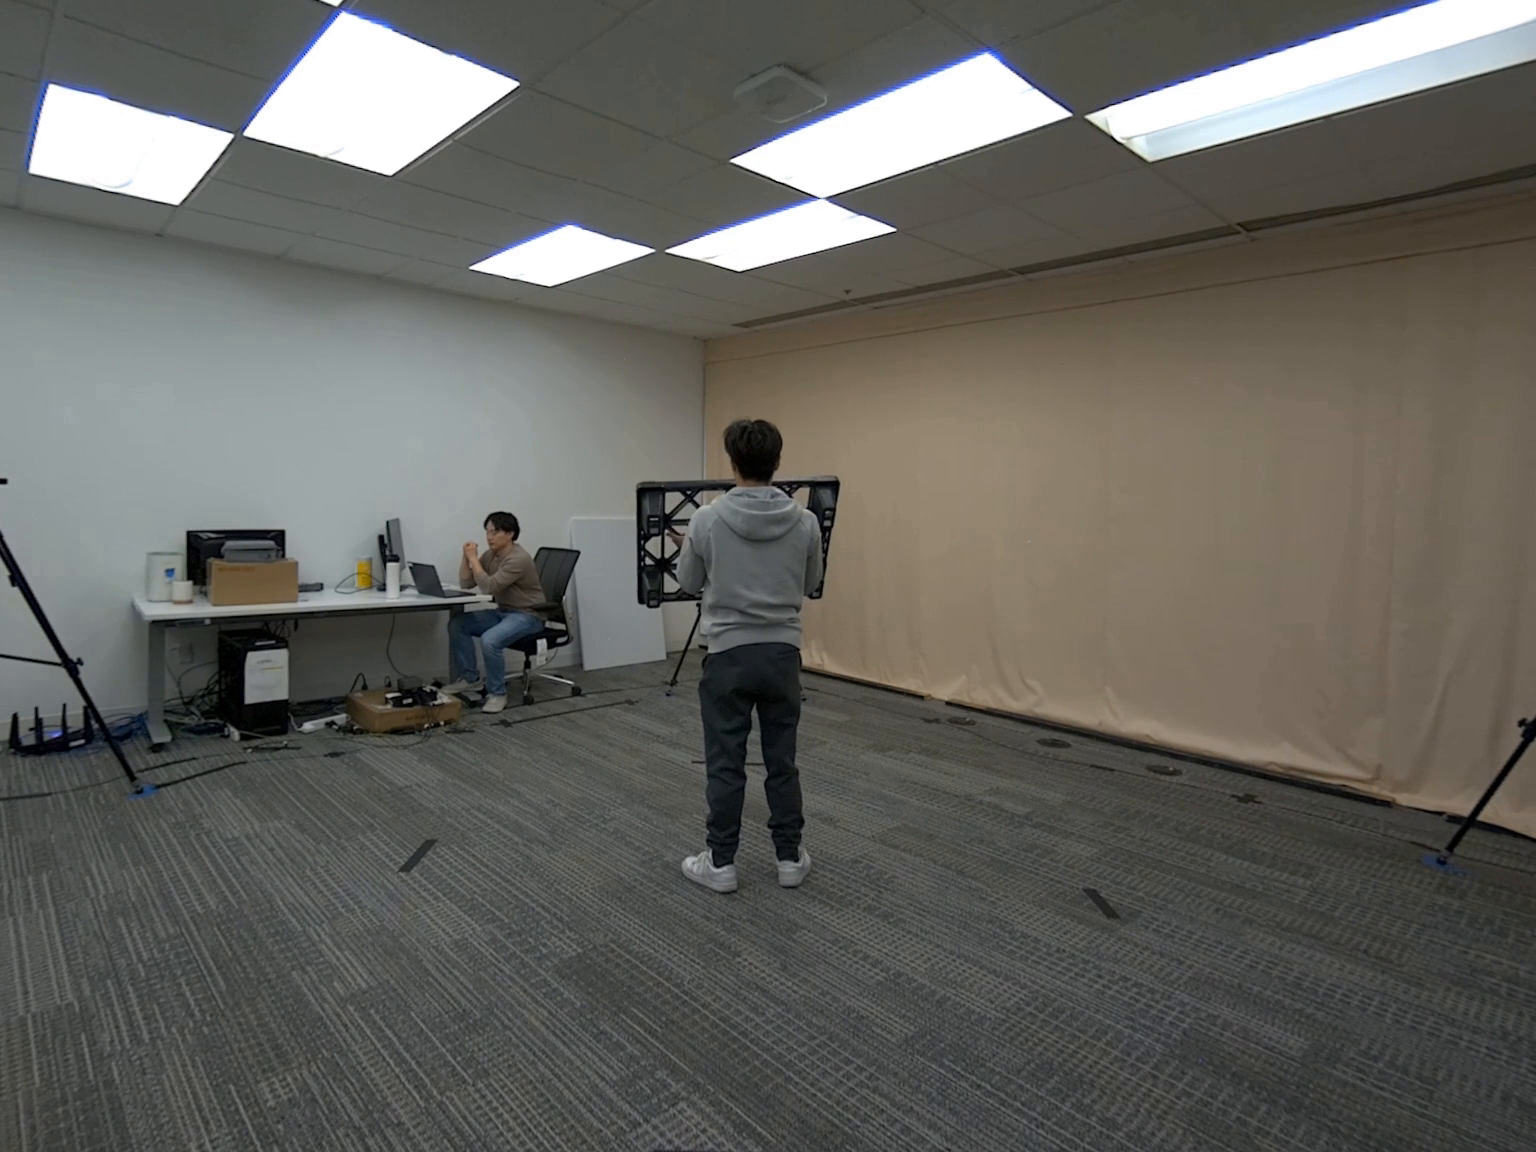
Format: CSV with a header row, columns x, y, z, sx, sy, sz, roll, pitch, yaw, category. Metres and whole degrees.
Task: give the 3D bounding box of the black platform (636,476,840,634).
x,y,z,sx,sy,sz,roll,pitch,yaw,category
-0.131,-0.102,3.392,0.800,0.593,0.147,-3,38,-9,black platform
